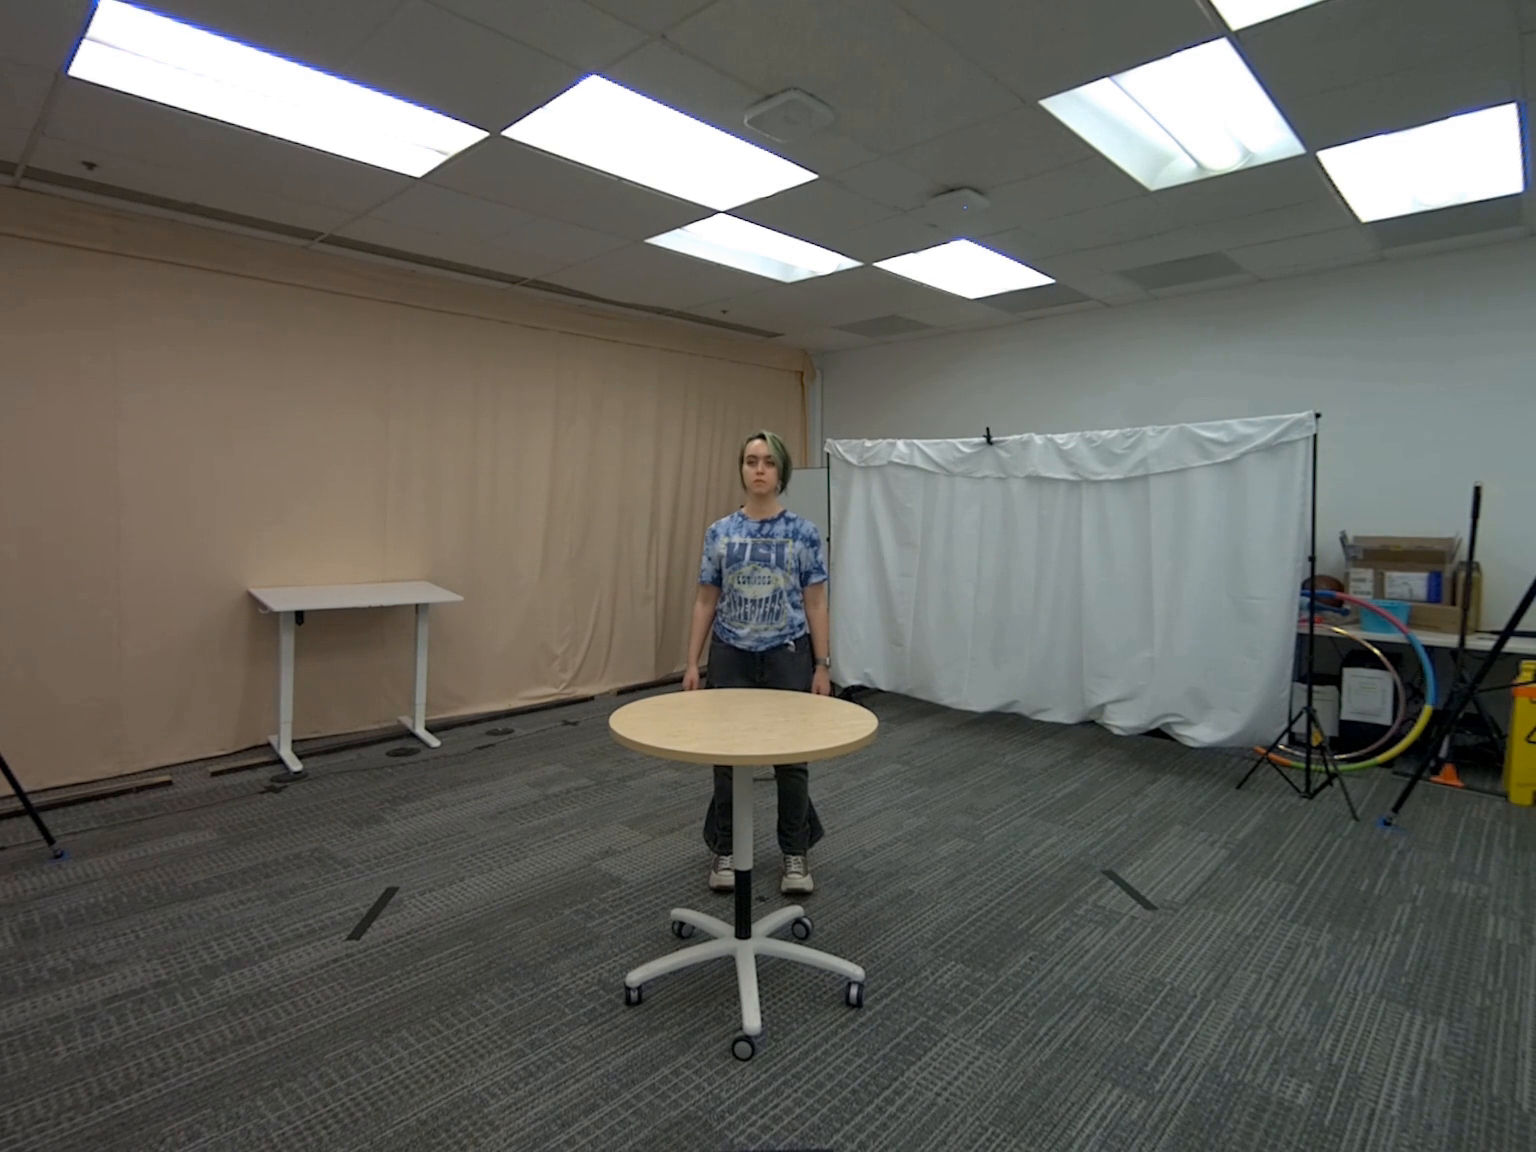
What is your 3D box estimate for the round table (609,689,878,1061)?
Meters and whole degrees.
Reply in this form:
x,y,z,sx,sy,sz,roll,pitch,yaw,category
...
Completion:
x,y,z,sx,sy,sz,roll,pitch,yaw,category
-0.075,0.799,2.443,0.763,0.792,0.766,0,3,-2,round table
